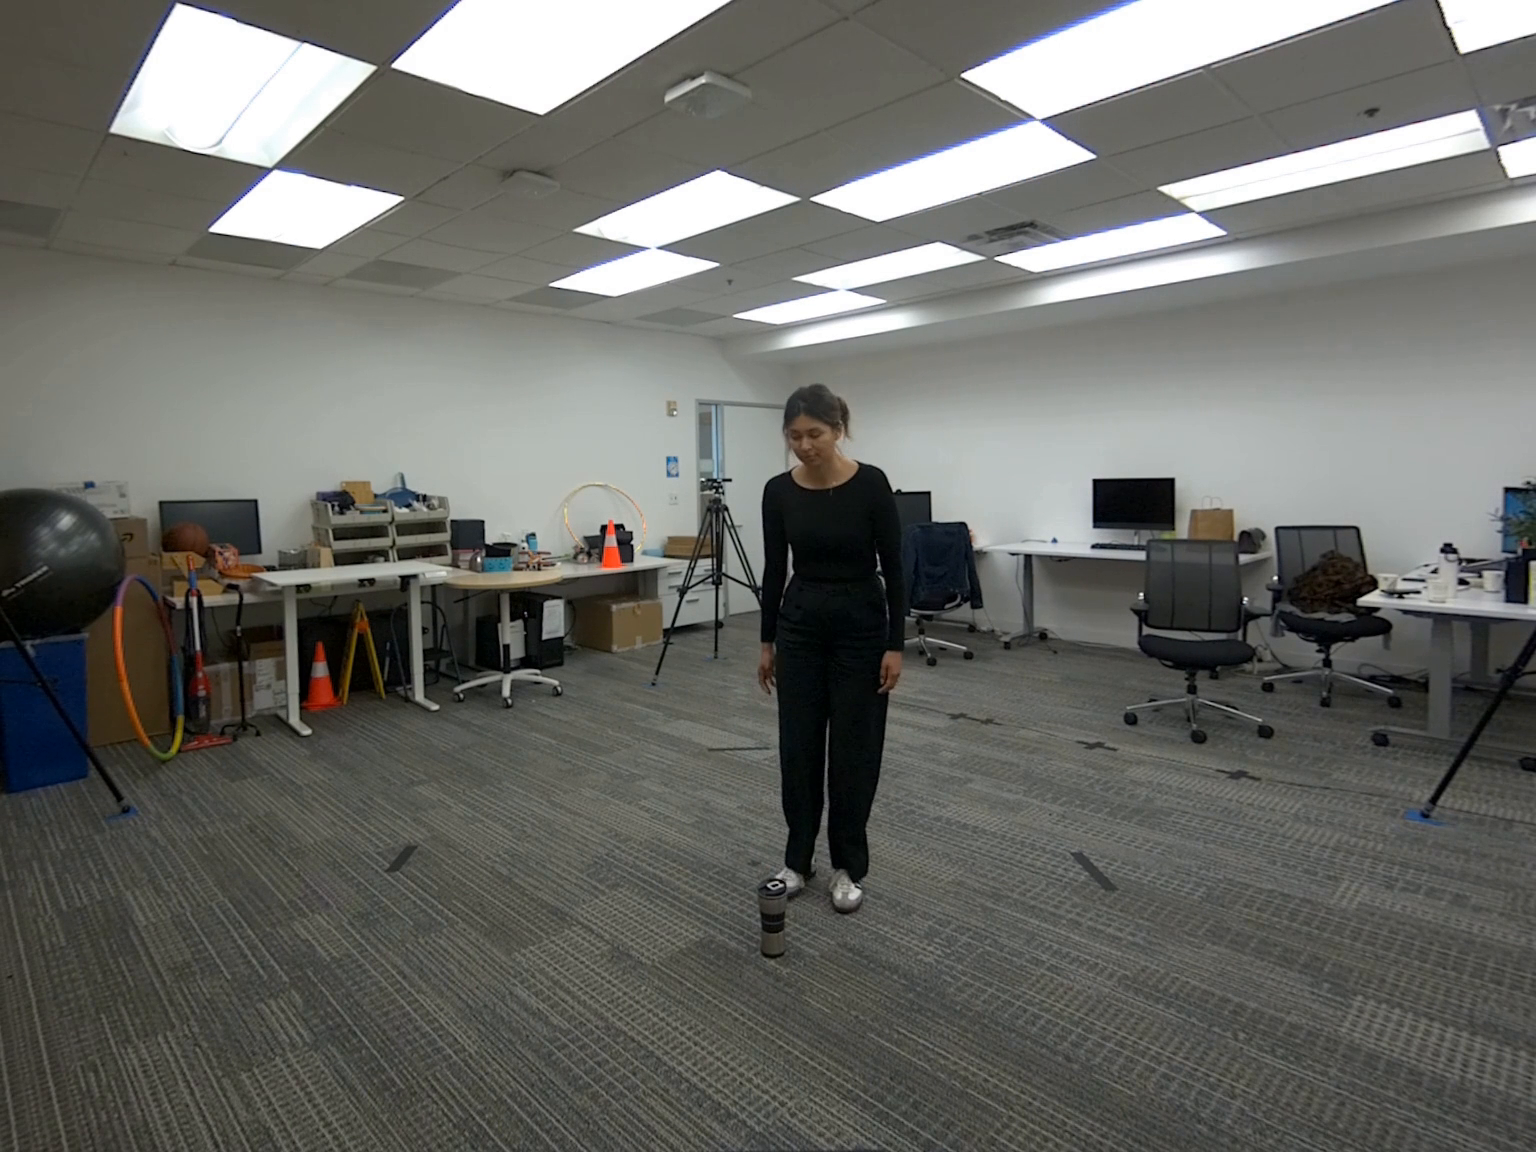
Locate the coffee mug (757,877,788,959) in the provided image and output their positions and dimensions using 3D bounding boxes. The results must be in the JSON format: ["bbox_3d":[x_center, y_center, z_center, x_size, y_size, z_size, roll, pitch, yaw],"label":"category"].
[{"bbox_3d":[0.032,1.016,2.530,0.090,0.202,0.119,-2,6,45],"label":"coffee mug"}]
